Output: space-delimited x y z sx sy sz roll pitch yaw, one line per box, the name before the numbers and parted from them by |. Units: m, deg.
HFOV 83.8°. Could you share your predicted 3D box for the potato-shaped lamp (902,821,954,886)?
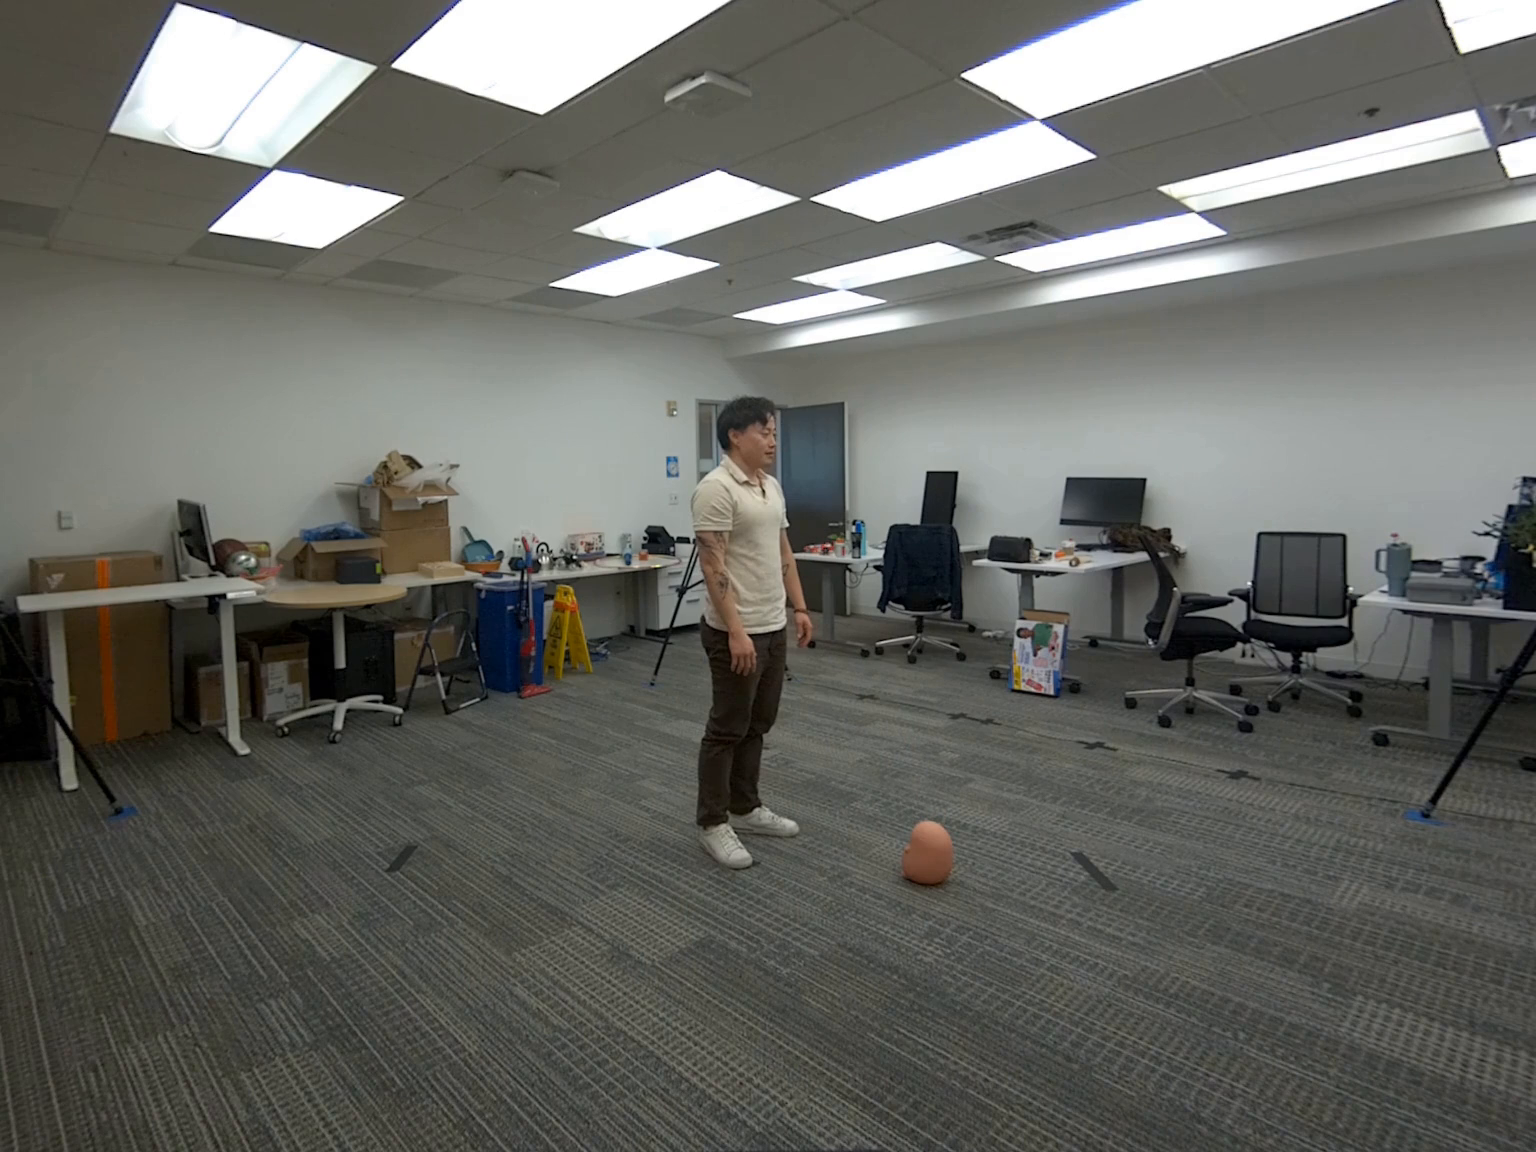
potato-shaped lamp | 0.559 0.950 2.959 0.177 0.197 0.160 5 7 38
